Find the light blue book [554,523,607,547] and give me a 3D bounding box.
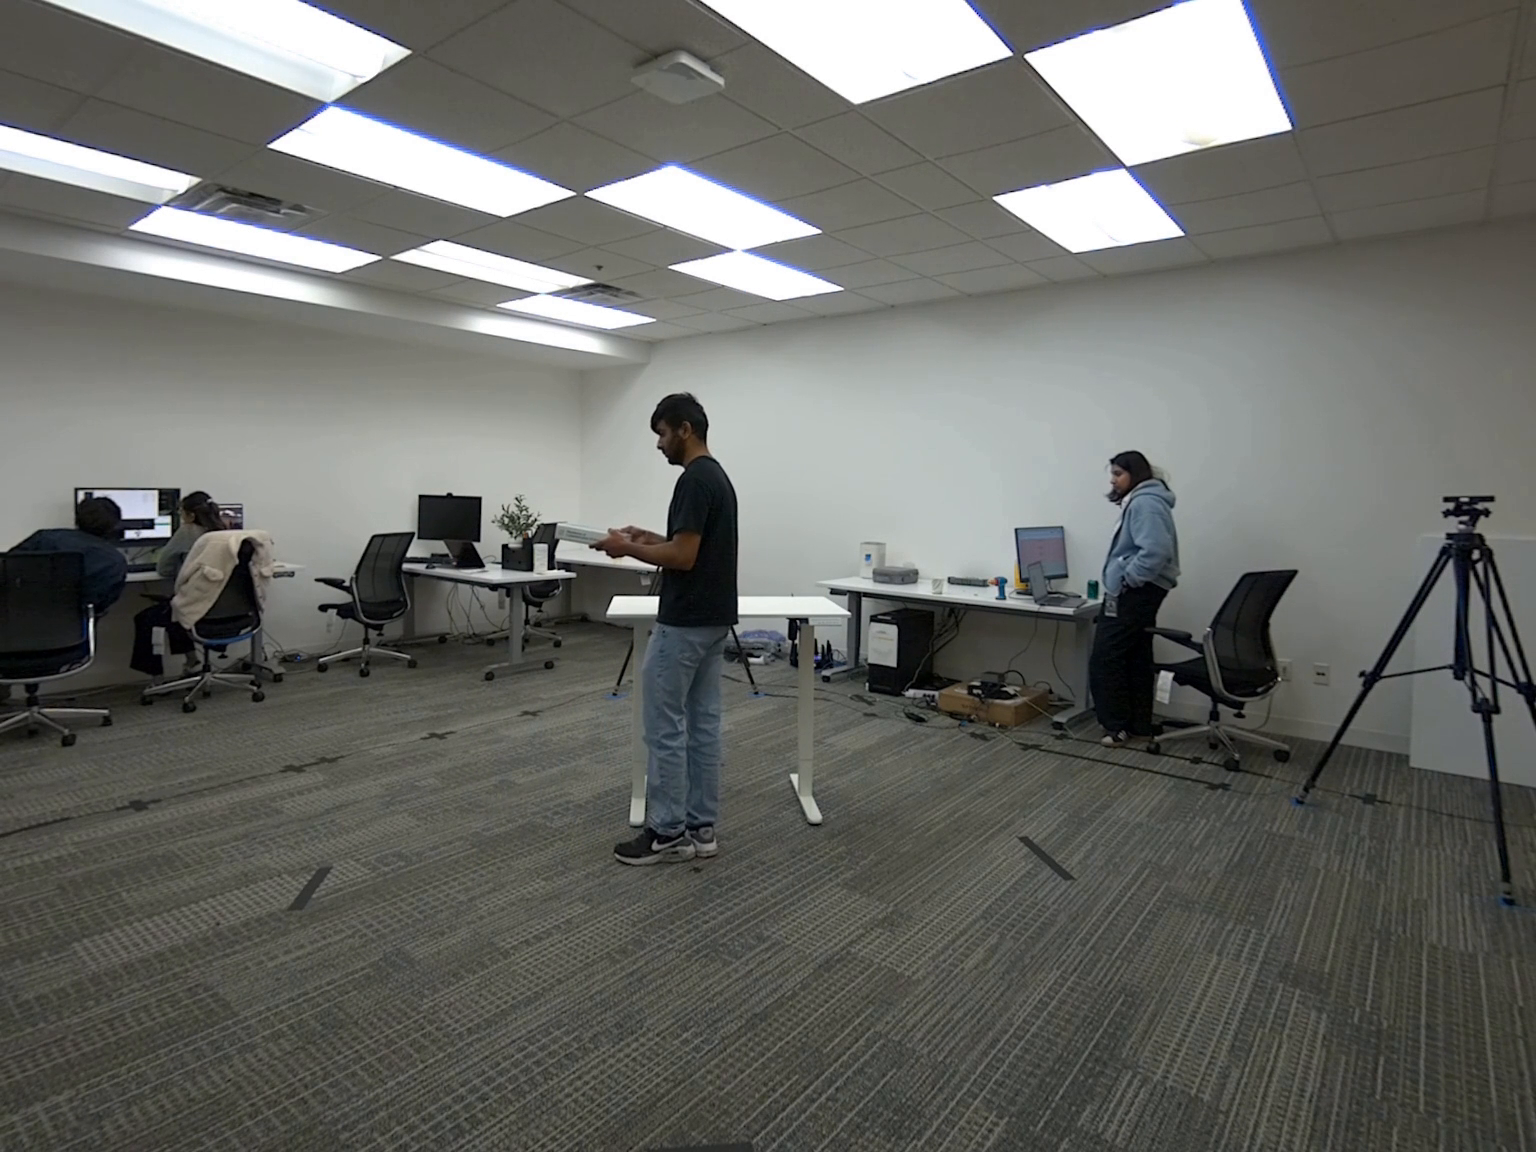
[{"bbox_3d":[-0.692,-0.158,3.289,0.261,0.059,0.192,8,4,-1],"label":"light blue book"}]
